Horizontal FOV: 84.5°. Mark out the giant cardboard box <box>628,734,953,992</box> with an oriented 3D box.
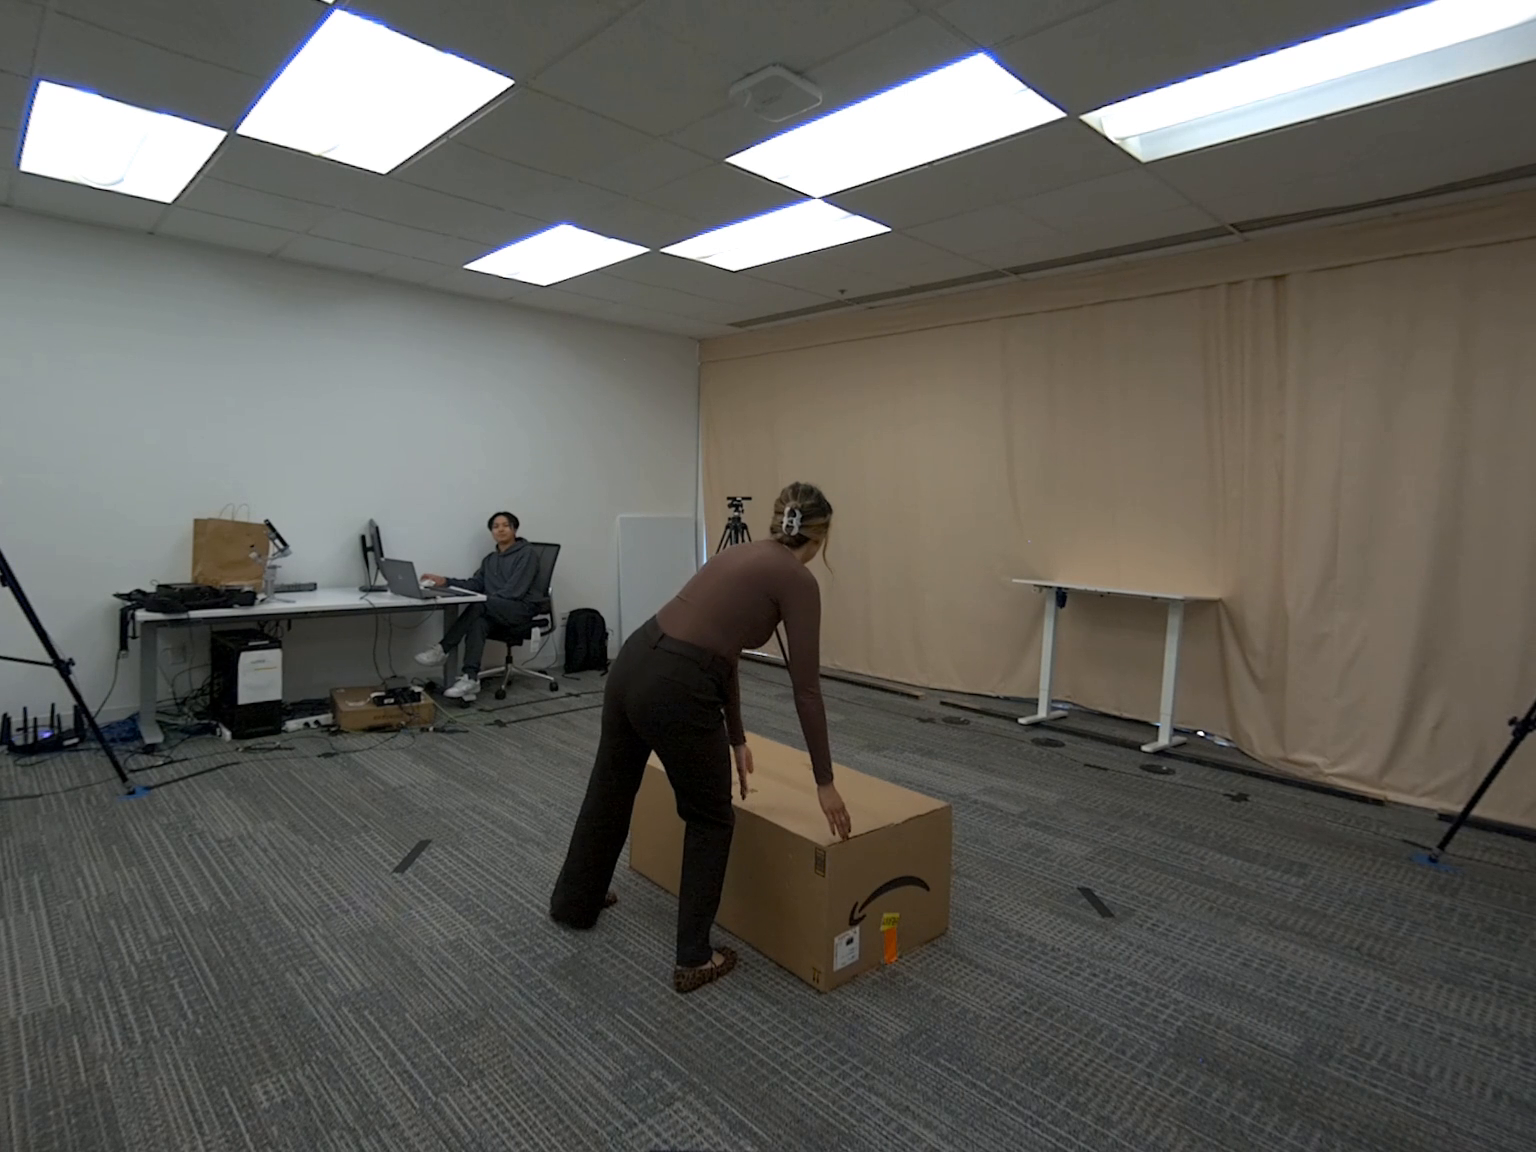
[{"bbox_3d":[0.037,0.916,2.934,0.570,0.446,1.054,-1,6,-40],"label":"giant cardboard box"}]
